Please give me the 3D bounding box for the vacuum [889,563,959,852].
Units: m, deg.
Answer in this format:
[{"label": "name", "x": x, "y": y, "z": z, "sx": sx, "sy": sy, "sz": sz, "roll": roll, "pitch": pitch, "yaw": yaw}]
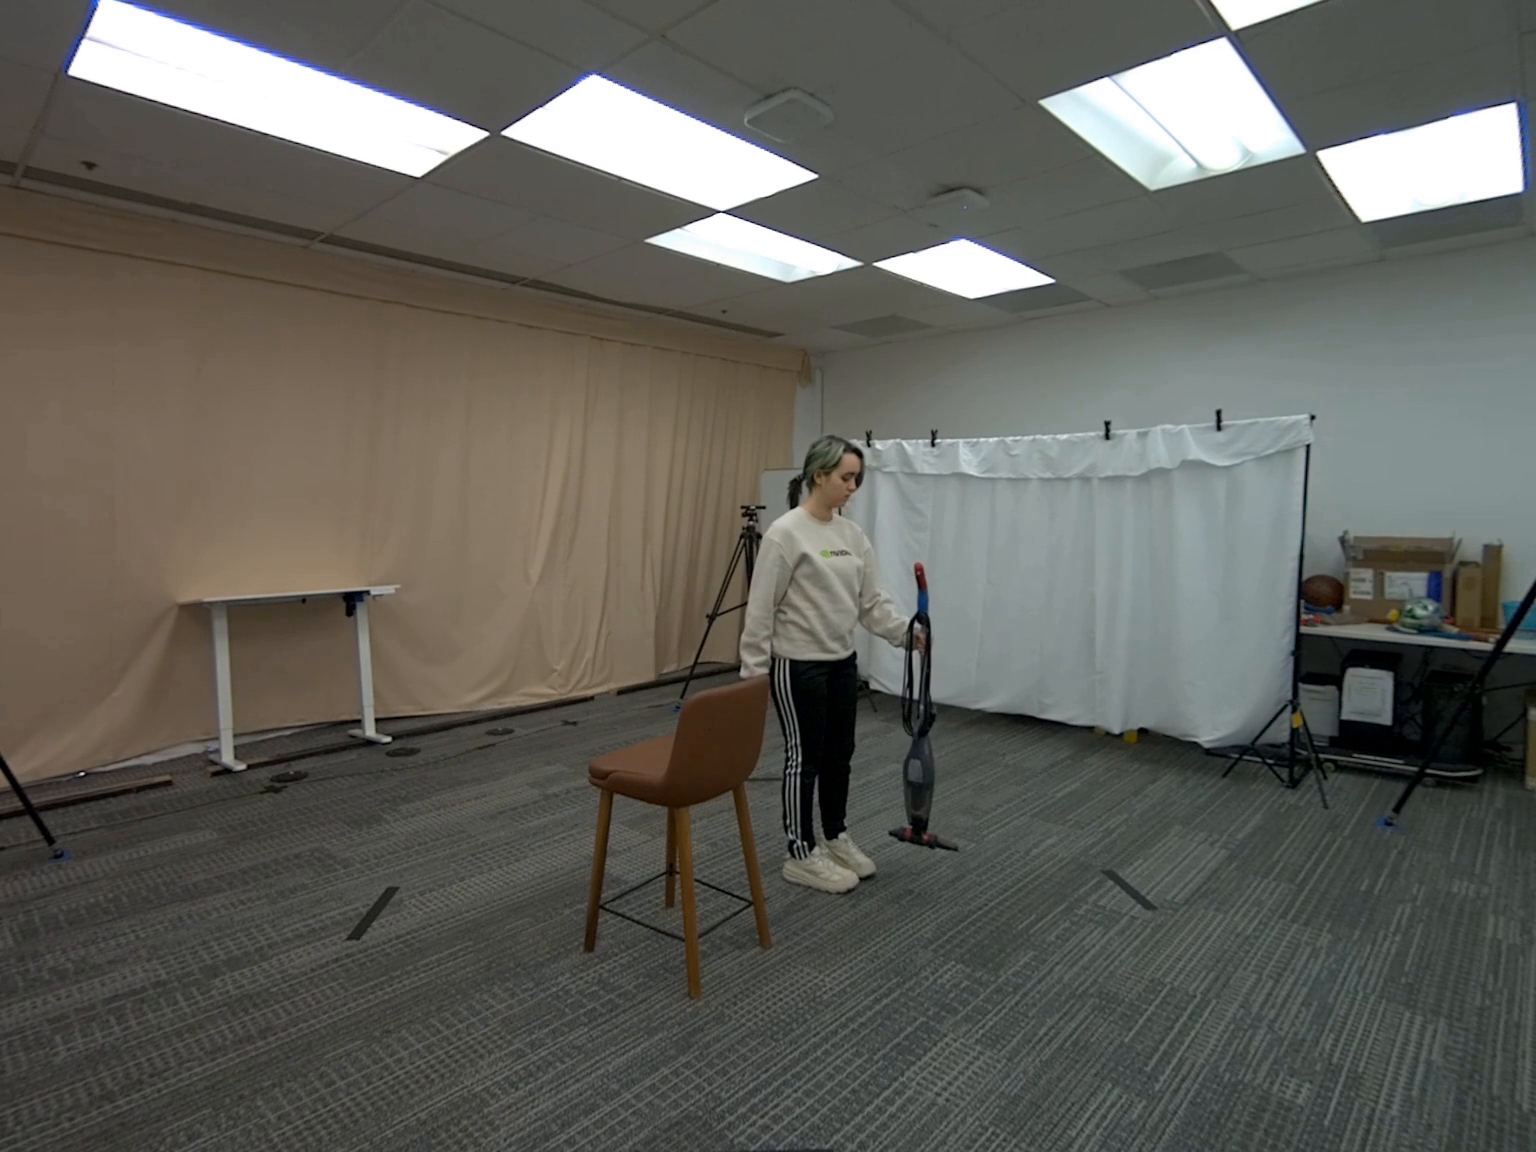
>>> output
[{"label": "vacuum", "x": 0.538, "y": 0.464, "z": 2.945, "sx": 0.260, "sy": 1.038, "sz": 0.141, "roll": 6, "pitch": 18, "yaw": 31}]
